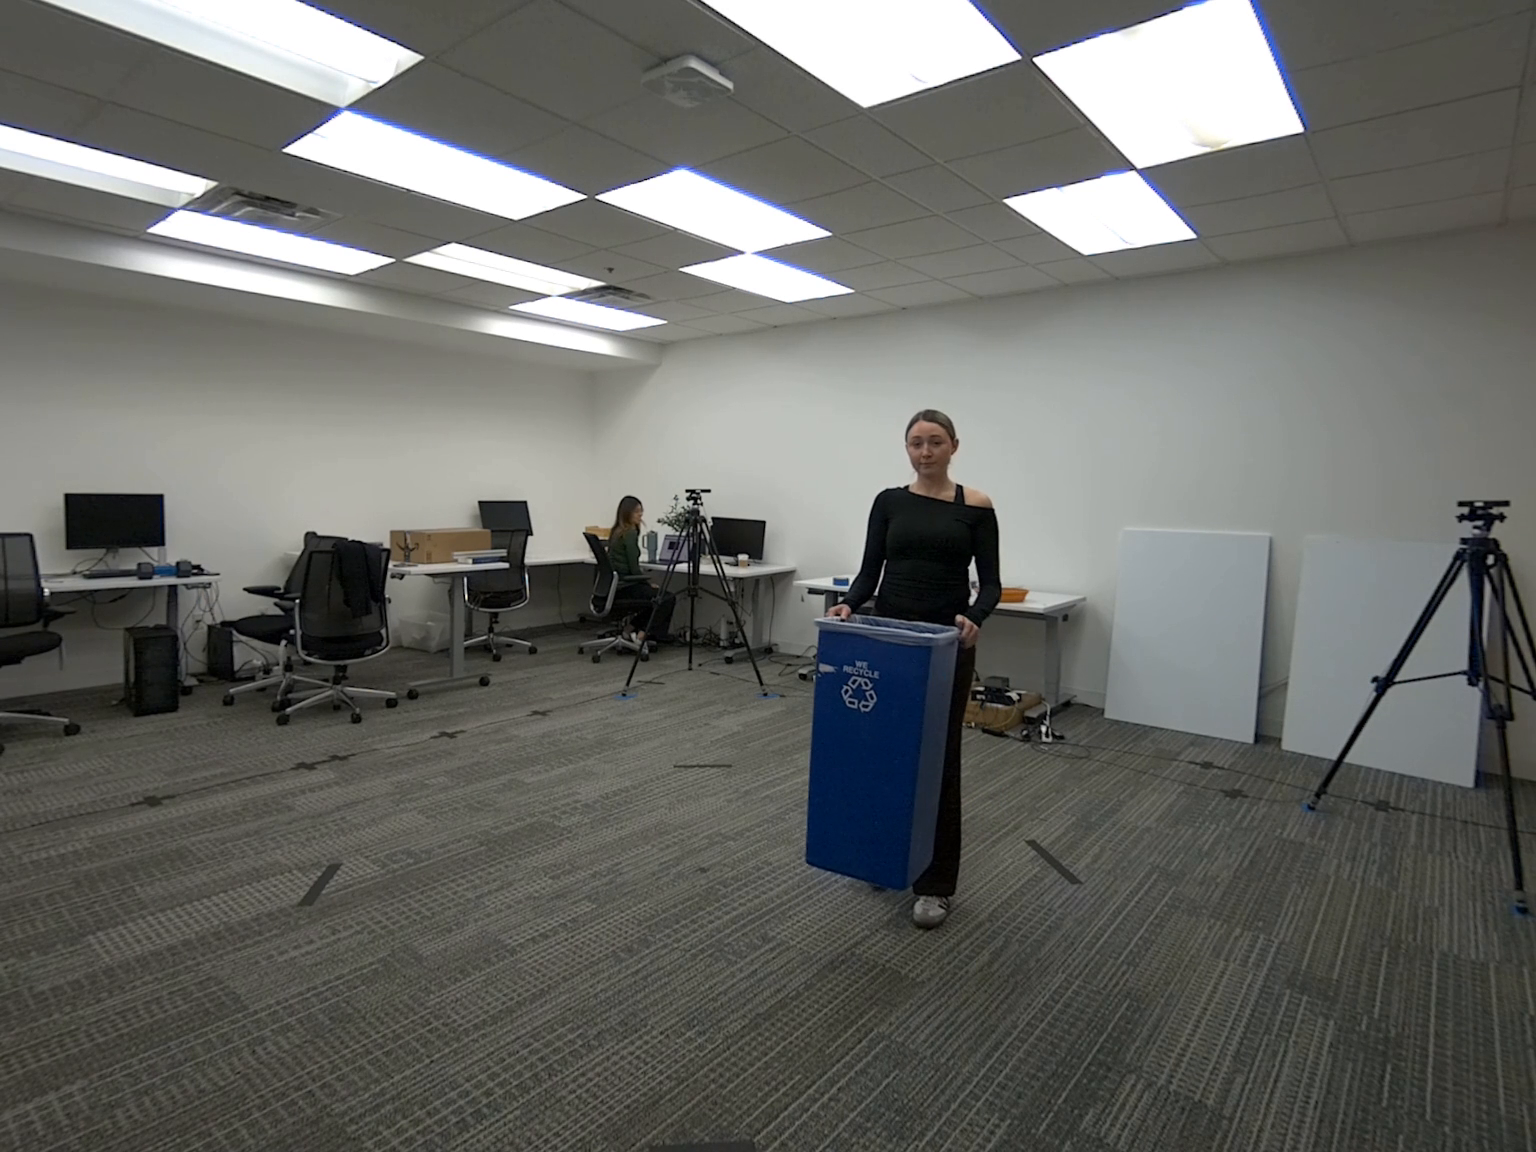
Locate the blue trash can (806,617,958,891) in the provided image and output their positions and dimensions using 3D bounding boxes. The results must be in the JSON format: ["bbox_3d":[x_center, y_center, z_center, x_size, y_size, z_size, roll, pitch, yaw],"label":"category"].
[{"bbox_3d":[0.332,0.496,2.531,0.384,0.713,0.368,4,0,27],"label":"blue trash can"}]
